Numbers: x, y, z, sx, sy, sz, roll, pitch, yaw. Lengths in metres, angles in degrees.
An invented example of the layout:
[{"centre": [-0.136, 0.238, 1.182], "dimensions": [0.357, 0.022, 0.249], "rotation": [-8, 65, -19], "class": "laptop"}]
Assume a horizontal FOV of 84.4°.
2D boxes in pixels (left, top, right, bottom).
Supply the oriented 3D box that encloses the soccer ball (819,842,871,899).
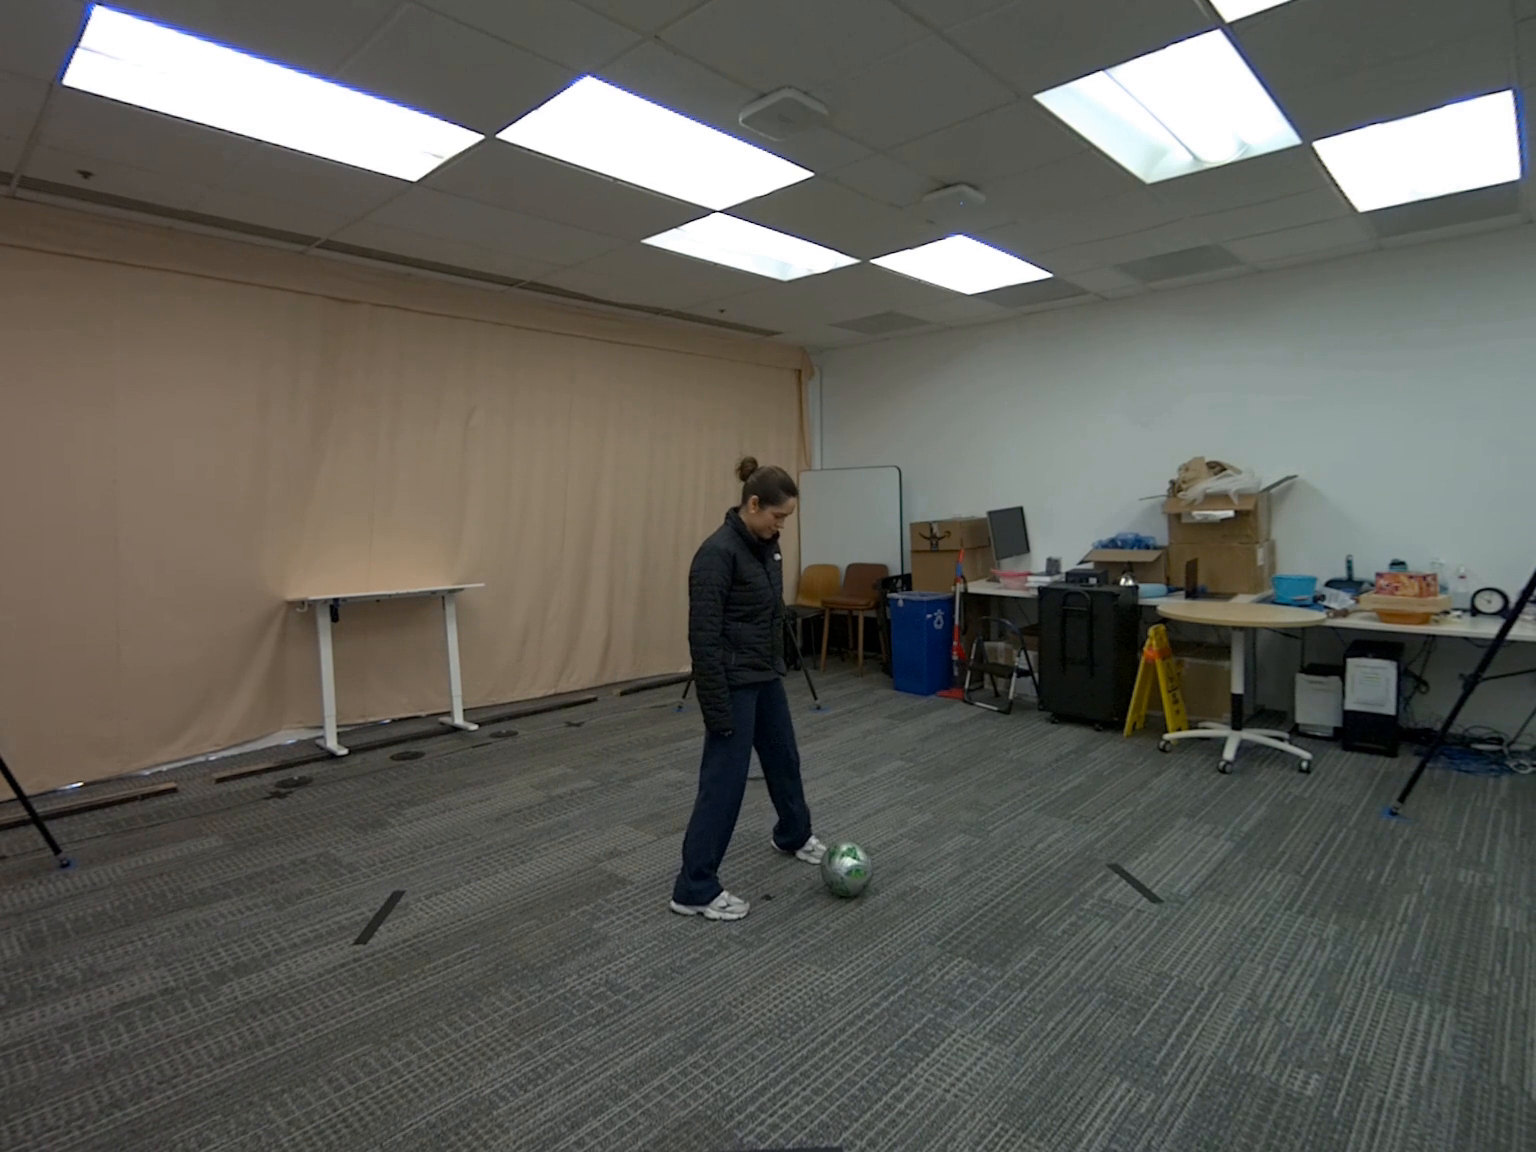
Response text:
[{"centre": [0.283, 1.043, 2.986], "dimensions": [0.187, 0.187, 0.188], "rotation": [-1, 4, -2], "class": "soccer ball"}]
